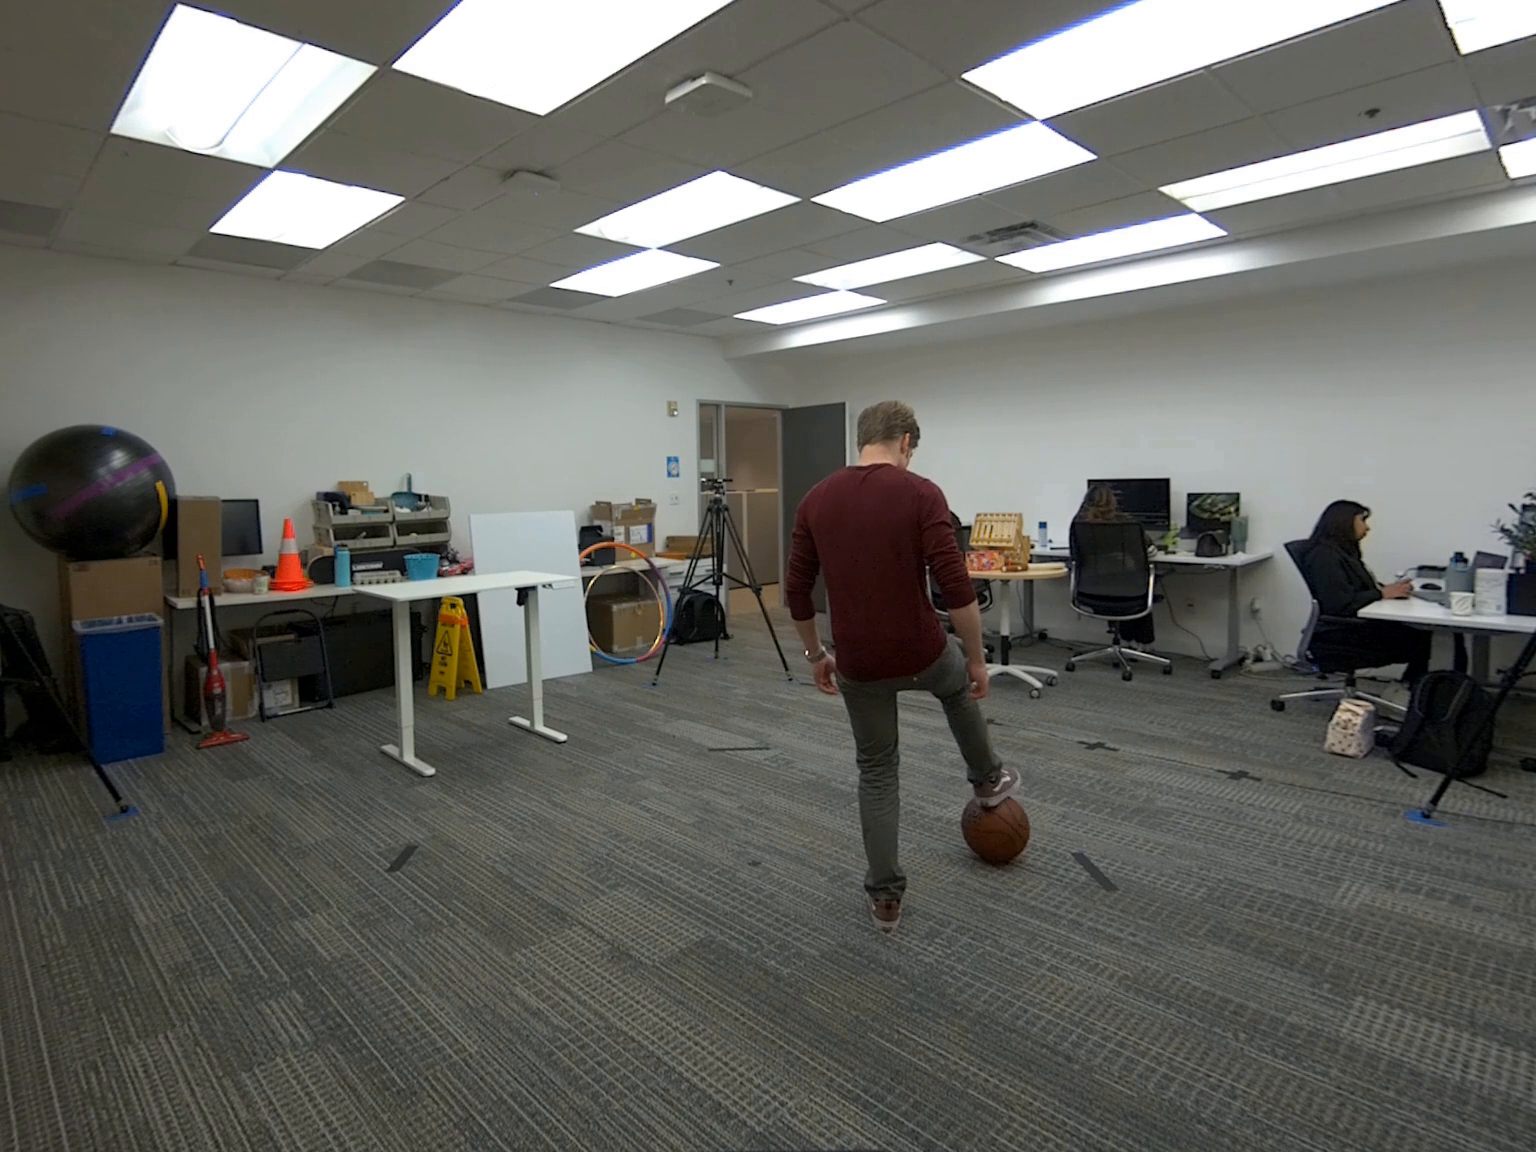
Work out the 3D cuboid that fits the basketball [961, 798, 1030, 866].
[{"bbox_3d":[0.827,0.912,3.105,0.236,0.235,0.237,-1,5,-2],"label":"basketball"}]
